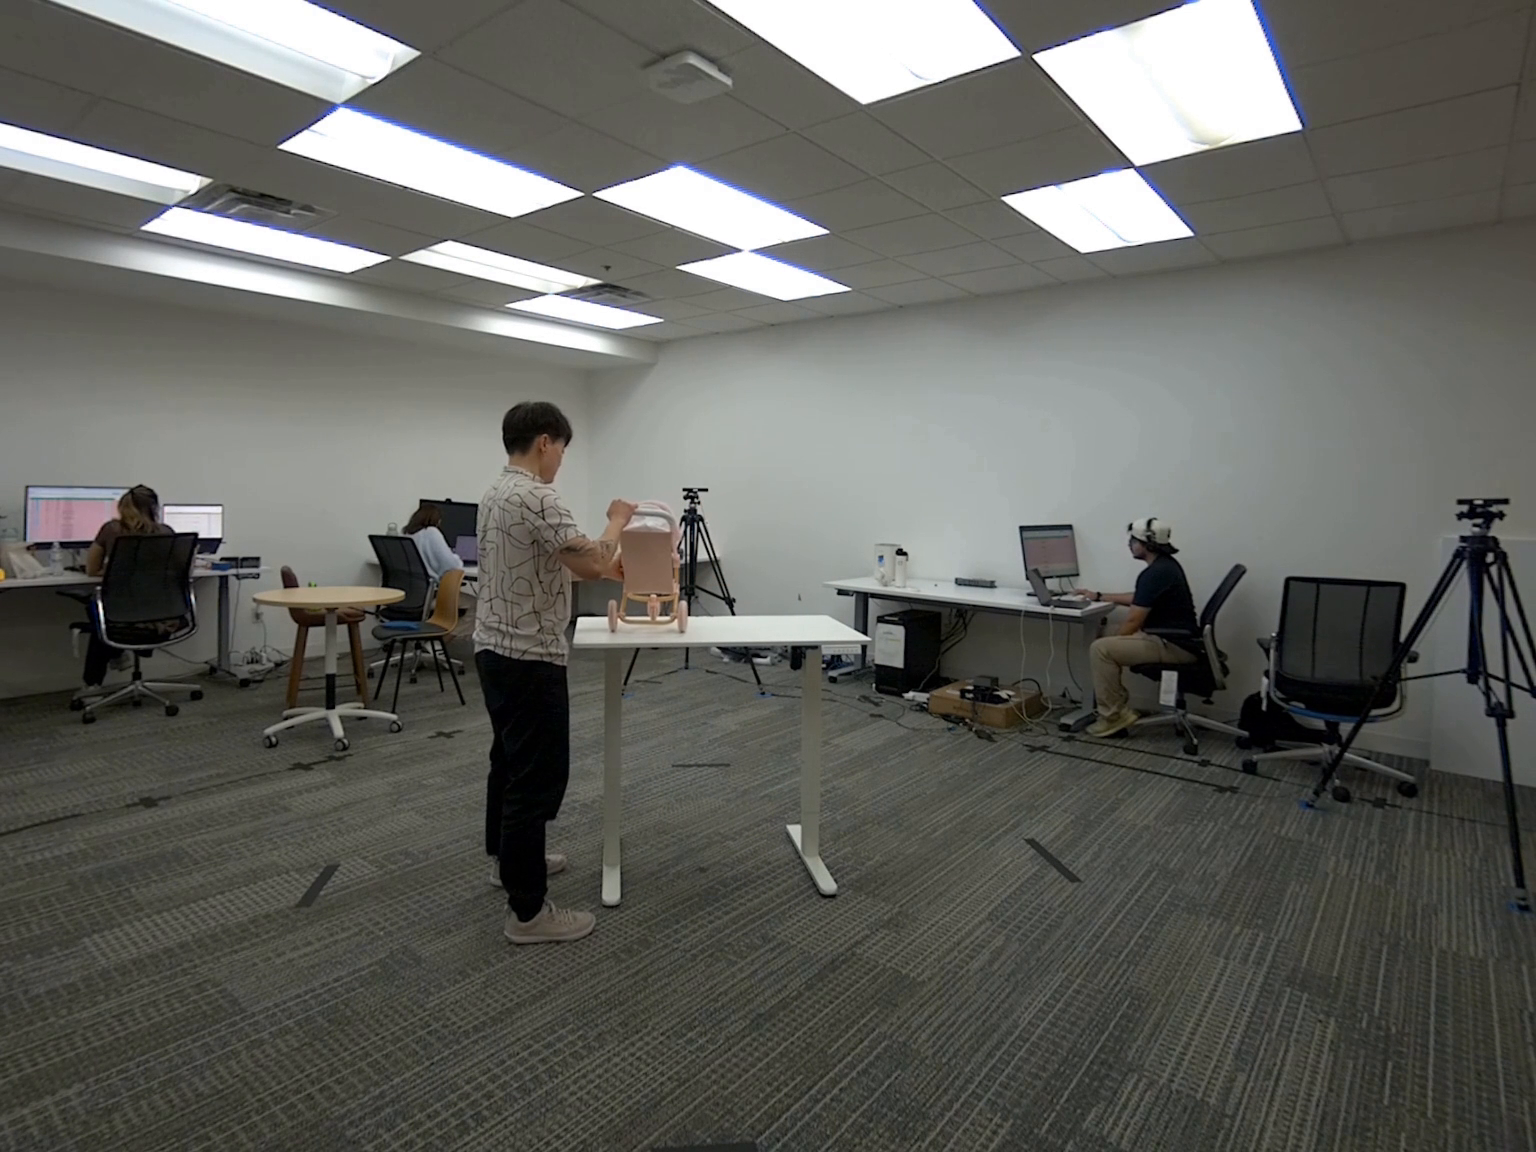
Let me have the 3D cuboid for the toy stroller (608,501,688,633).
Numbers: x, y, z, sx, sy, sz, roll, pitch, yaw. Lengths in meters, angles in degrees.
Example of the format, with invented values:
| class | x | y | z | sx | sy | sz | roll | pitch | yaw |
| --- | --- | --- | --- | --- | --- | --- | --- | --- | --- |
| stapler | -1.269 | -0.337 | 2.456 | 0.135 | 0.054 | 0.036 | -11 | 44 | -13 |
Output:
| class | x | y | z | sx | sy | sz | roll | pitch | yaw |
| --- | --- | --- | --- | --- | --- | --- | --- | --- | --- |
| toy stroller | -0.438 | -0.033 | 3.065 | 0.282 | 0.526 | 0.346 | 1 | 19 | 2 |
